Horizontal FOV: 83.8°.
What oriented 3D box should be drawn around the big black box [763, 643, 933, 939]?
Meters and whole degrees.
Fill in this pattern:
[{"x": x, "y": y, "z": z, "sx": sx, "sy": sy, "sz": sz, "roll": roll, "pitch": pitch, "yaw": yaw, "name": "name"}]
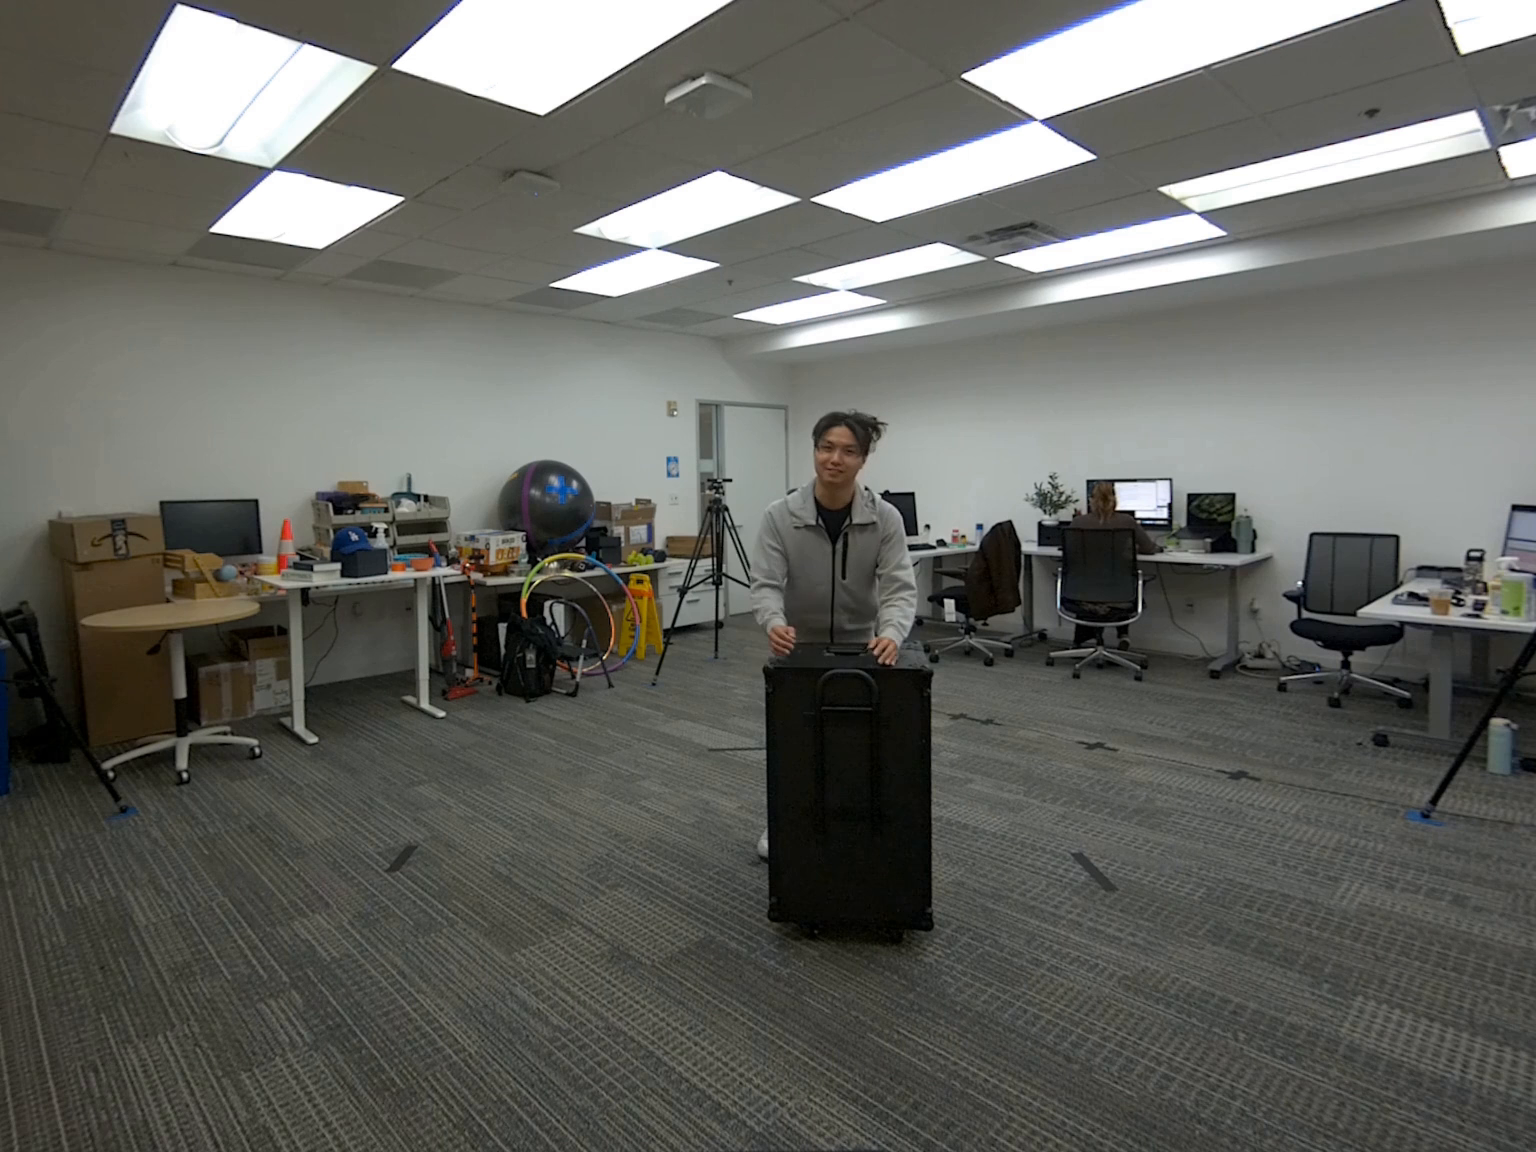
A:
[{"x": 0.259, "y": 0.672, "z": 2.665, "sx": 0.526, "sy": 0.857, "sz": 0.395, "roll": 0, "pitch": 5, "yaw": 8, "name": "big black box"}]
